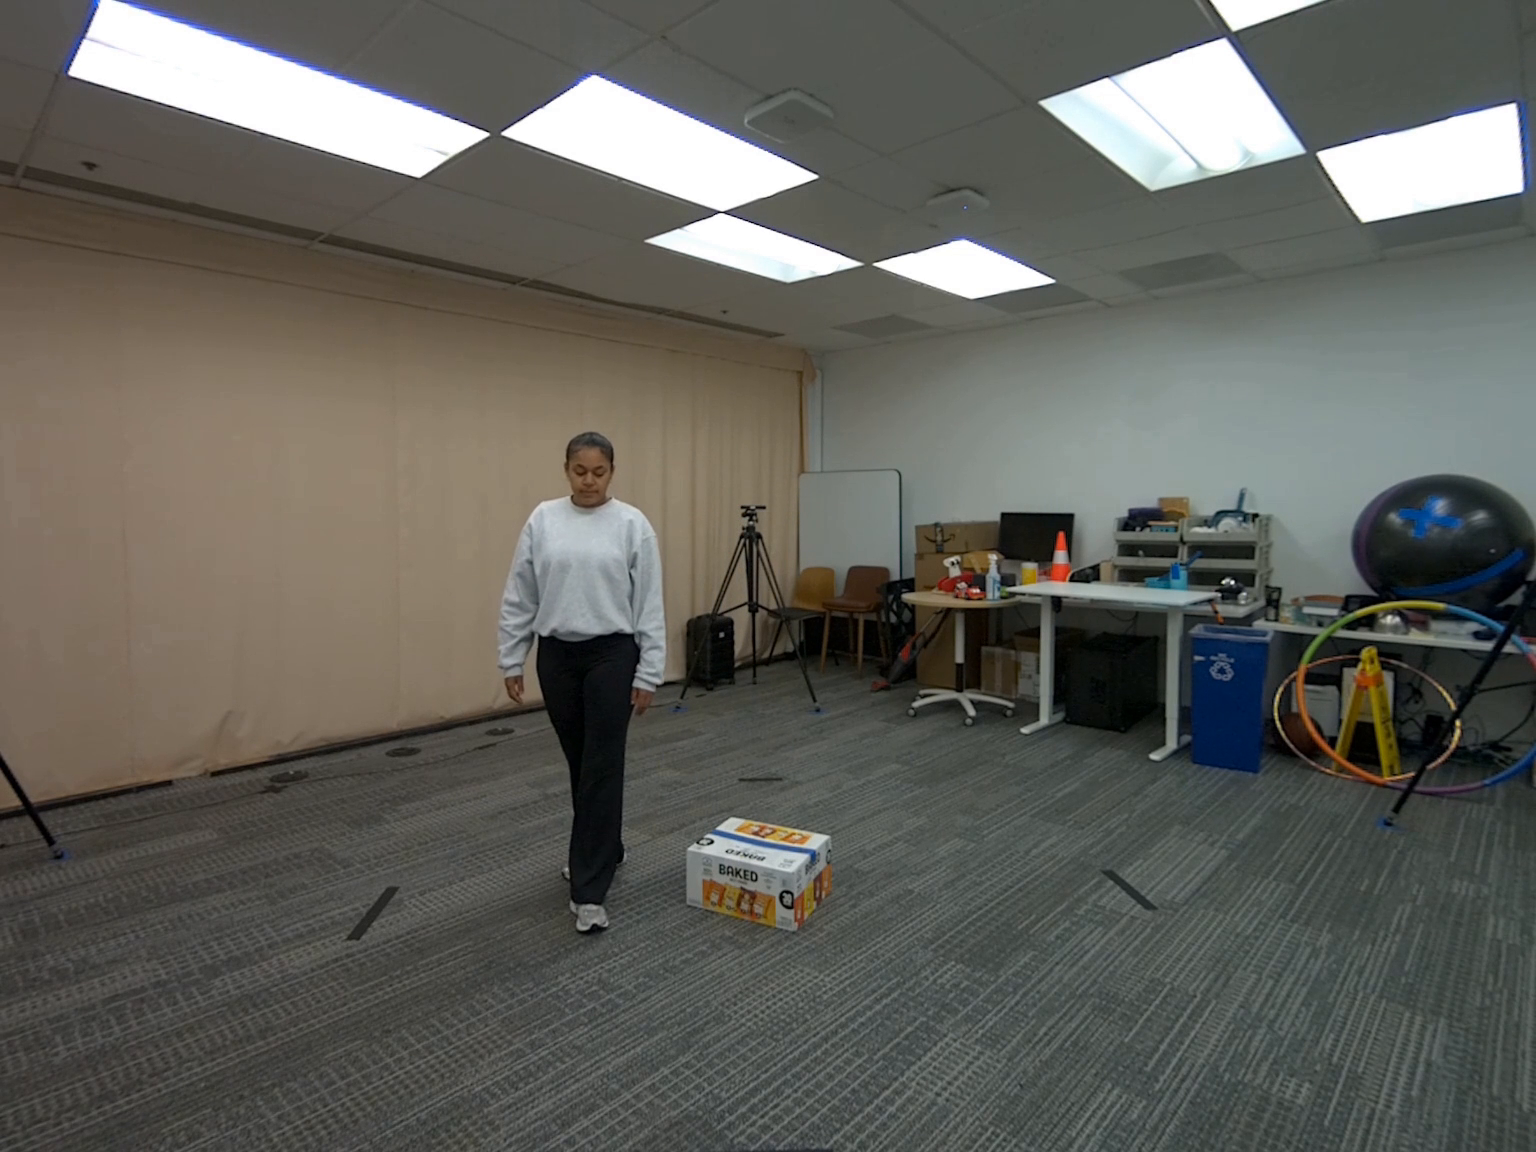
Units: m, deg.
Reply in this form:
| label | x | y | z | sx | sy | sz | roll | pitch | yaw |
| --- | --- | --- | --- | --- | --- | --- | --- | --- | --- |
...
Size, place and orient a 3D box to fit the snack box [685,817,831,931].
| label | x | y | z | sx | sy | sz | roll | pitch | yaw |
| --- | --- | --- | --- | --- | --- | --- | --- | --- | --- |
| snack box | -0.023 | 1.044 | 2.975 | 0.416 | 0.205 | 0.332 | 2 | 4 | 27 |
